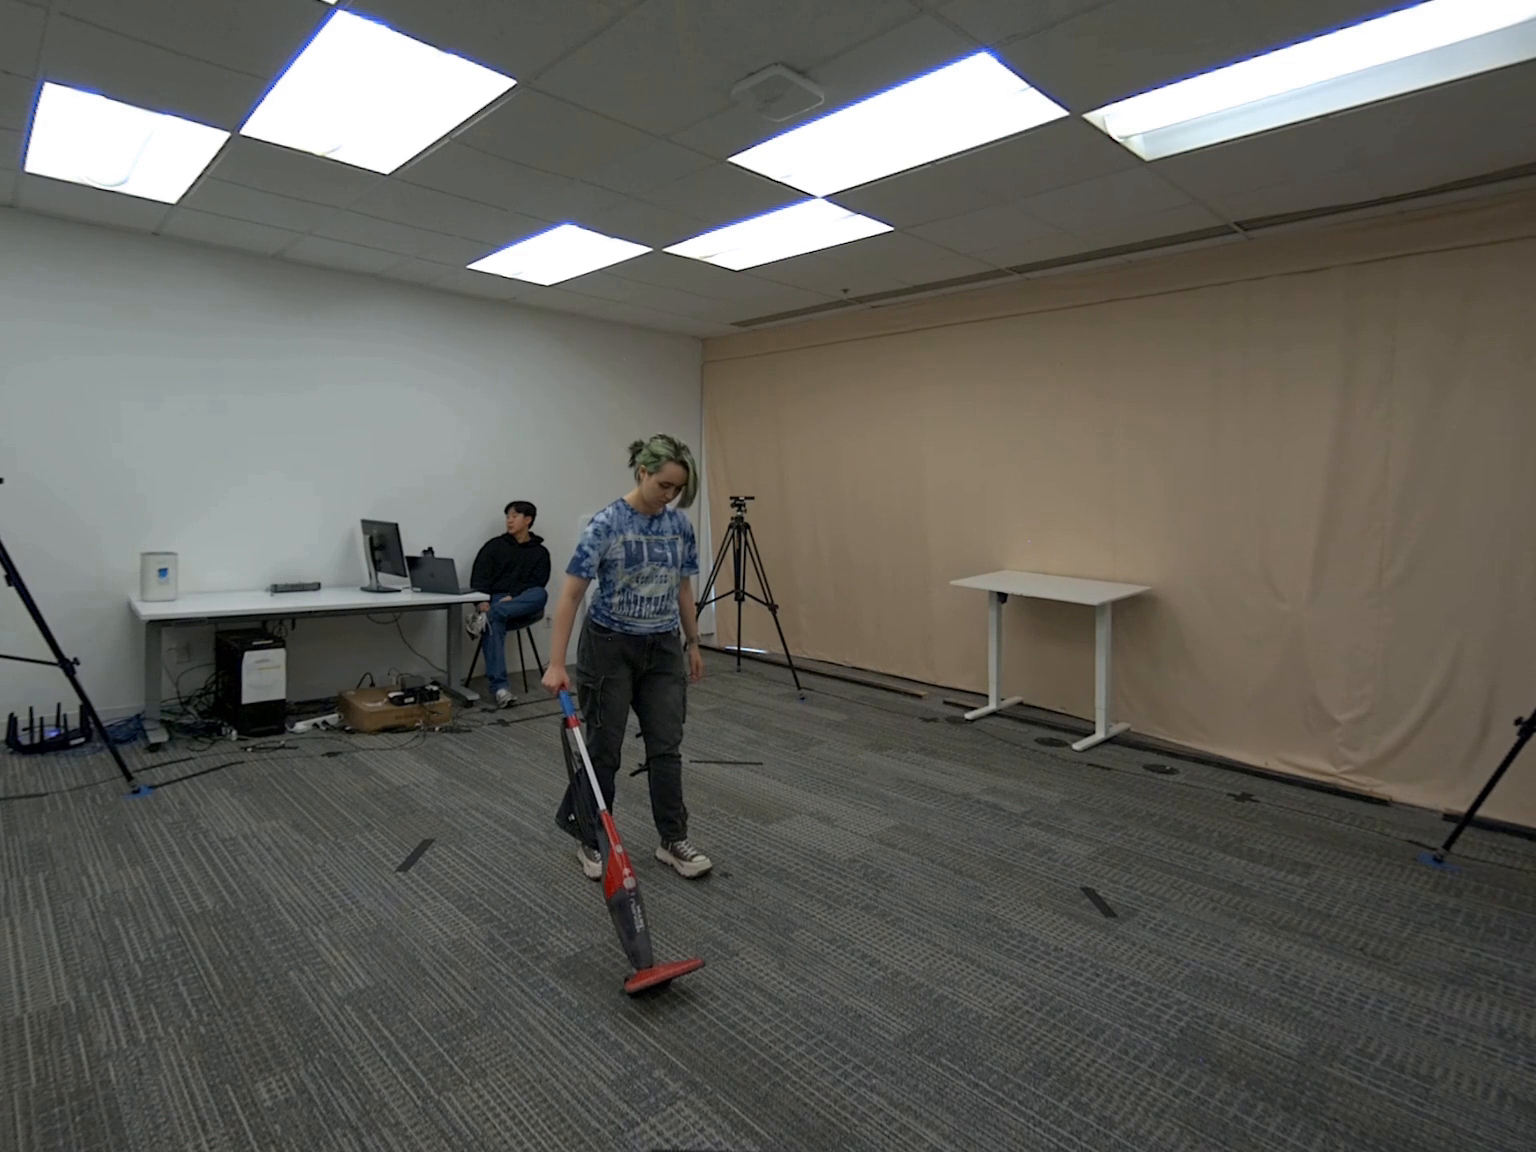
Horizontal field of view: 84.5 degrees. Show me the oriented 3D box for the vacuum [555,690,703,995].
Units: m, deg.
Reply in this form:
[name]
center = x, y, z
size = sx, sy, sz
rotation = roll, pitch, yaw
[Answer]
[vacuum]
center = -0.545, 0.748, 2.624
size = 0.247, 0.143, 1.080
rotation = 1, 46, -37
